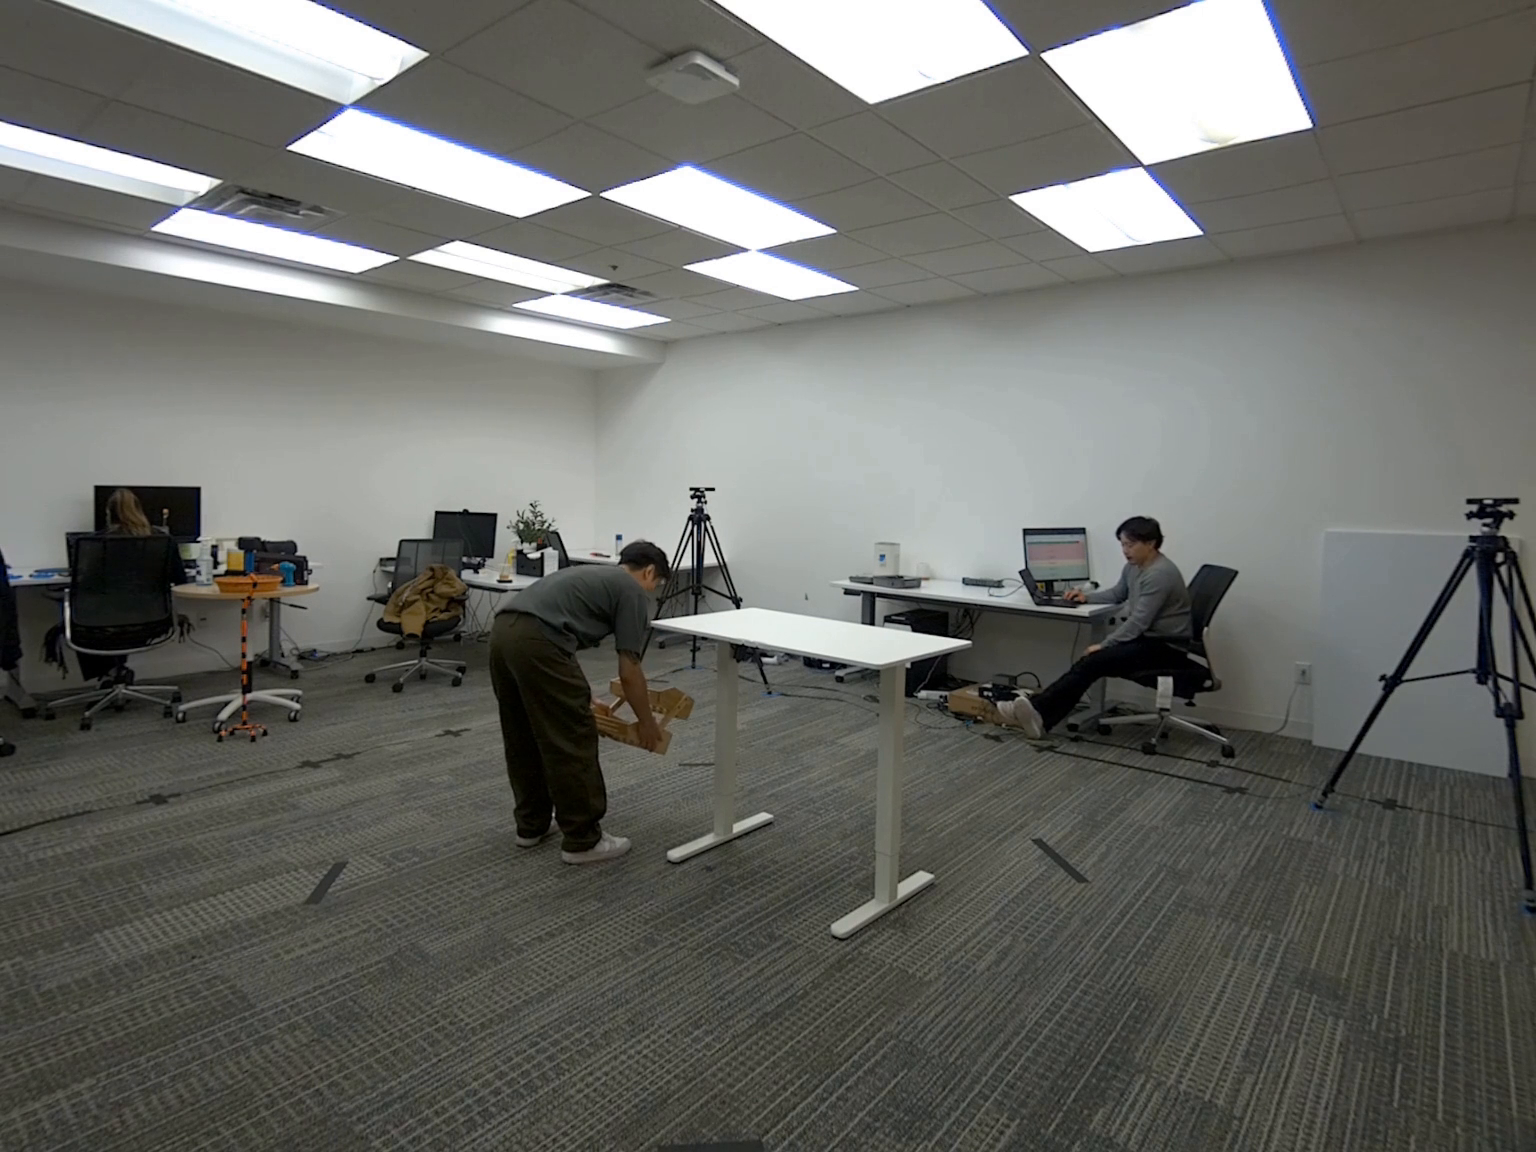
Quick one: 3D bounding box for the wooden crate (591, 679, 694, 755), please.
[{"bbox_3d":[-0.557,0.546,3.516,0.335,0.276,0.289,4,-26,38],"label":"wooden crate"}]
